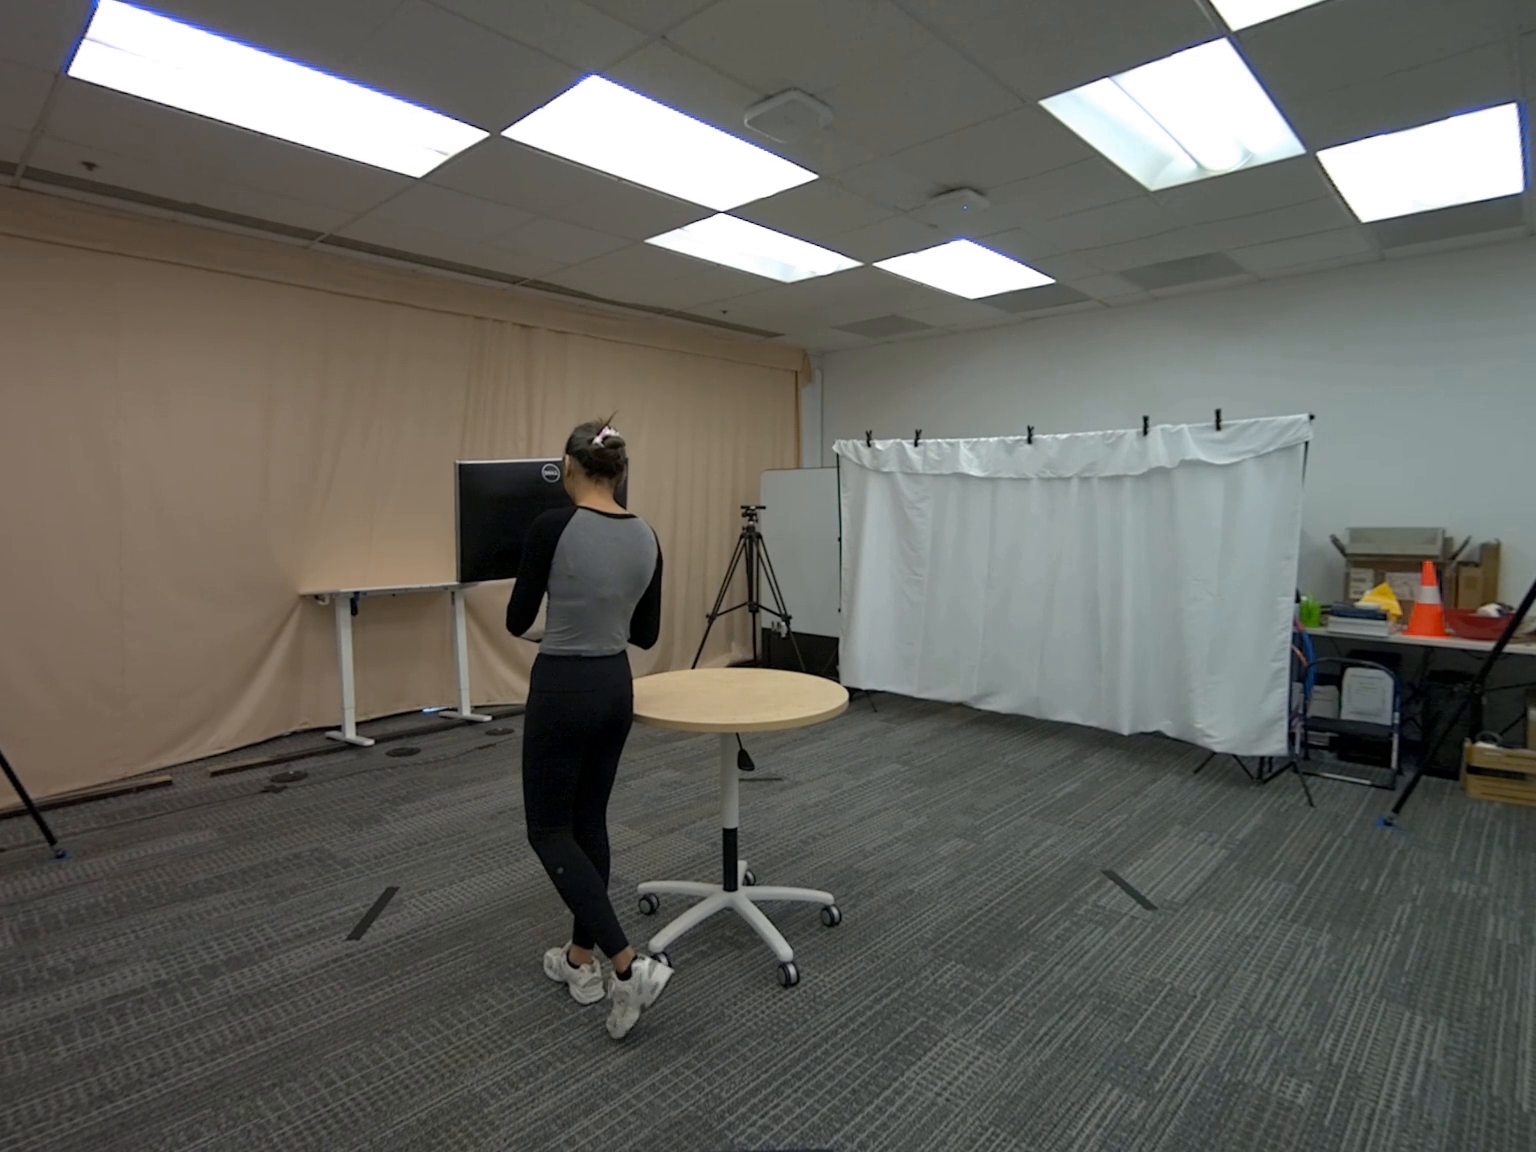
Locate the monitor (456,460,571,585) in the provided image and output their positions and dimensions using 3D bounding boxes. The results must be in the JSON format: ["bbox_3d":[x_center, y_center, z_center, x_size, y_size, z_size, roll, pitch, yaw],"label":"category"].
[{"bbox_3d":[-0.656,-0.089,2.567,0.523,0.521,0.193,-6,4,-38],"label":"monitor"}]
